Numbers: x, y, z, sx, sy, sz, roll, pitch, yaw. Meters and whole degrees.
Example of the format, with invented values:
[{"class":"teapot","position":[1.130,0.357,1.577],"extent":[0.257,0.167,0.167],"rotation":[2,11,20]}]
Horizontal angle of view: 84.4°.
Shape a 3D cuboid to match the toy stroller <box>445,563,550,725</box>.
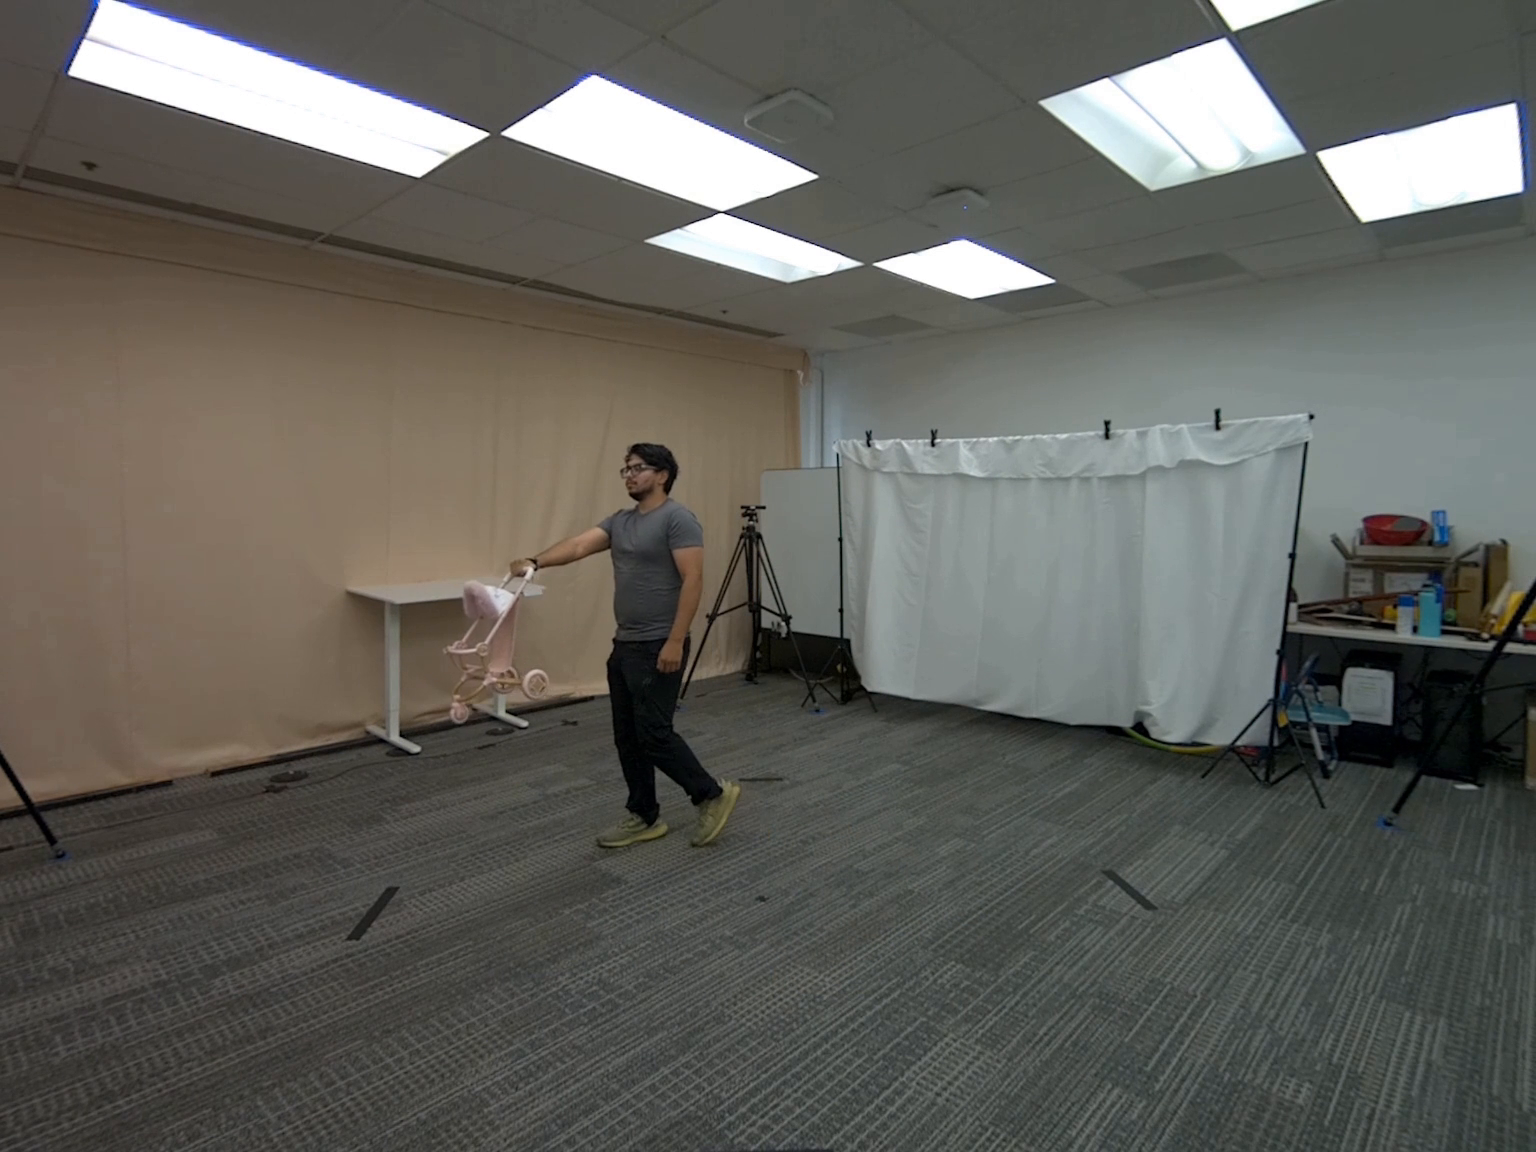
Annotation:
[{"class":"toy stroller","position":[-1.015,0.249,3.077],"extent":[0.331,0.535,0.290],"rotation":[-5,1,-38]}]
